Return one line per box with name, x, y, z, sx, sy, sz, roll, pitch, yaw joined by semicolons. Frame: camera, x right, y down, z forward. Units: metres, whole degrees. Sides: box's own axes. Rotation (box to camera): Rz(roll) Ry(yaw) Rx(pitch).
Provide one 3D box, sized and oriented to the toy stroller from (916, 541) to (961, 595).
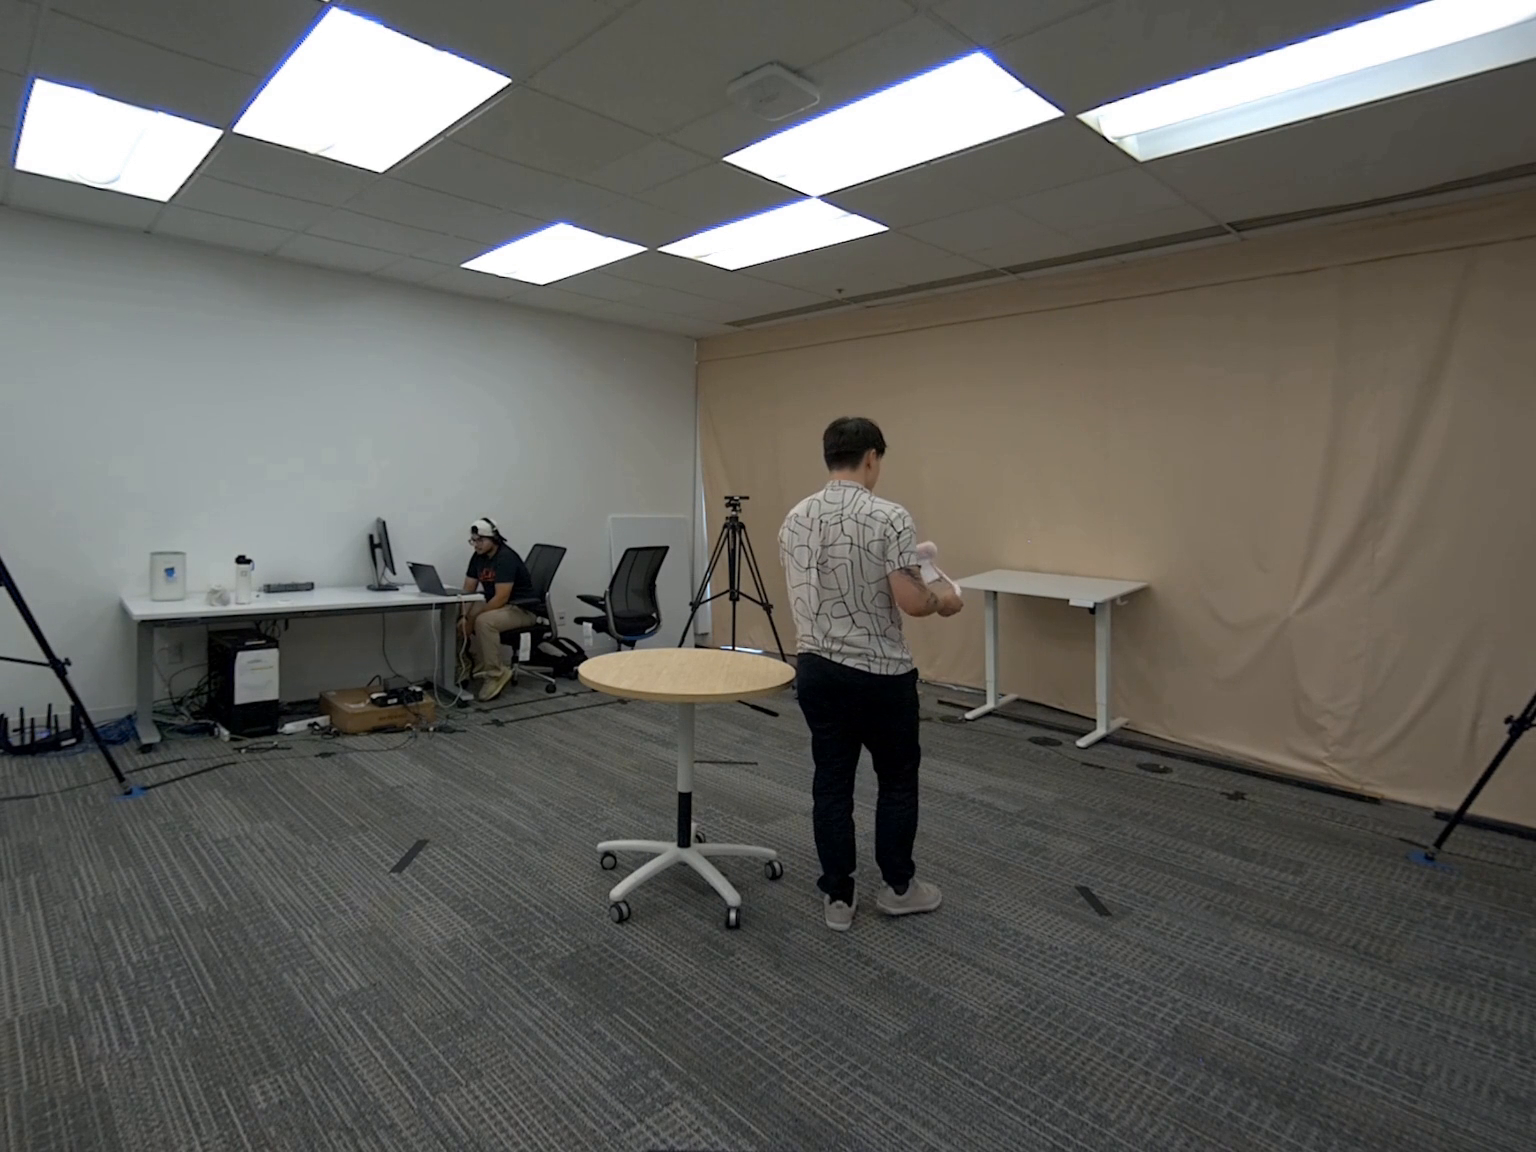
toy stroller;0.447;-0.029;3.051;0.278;0.343;0.538;-12;-4;-18
